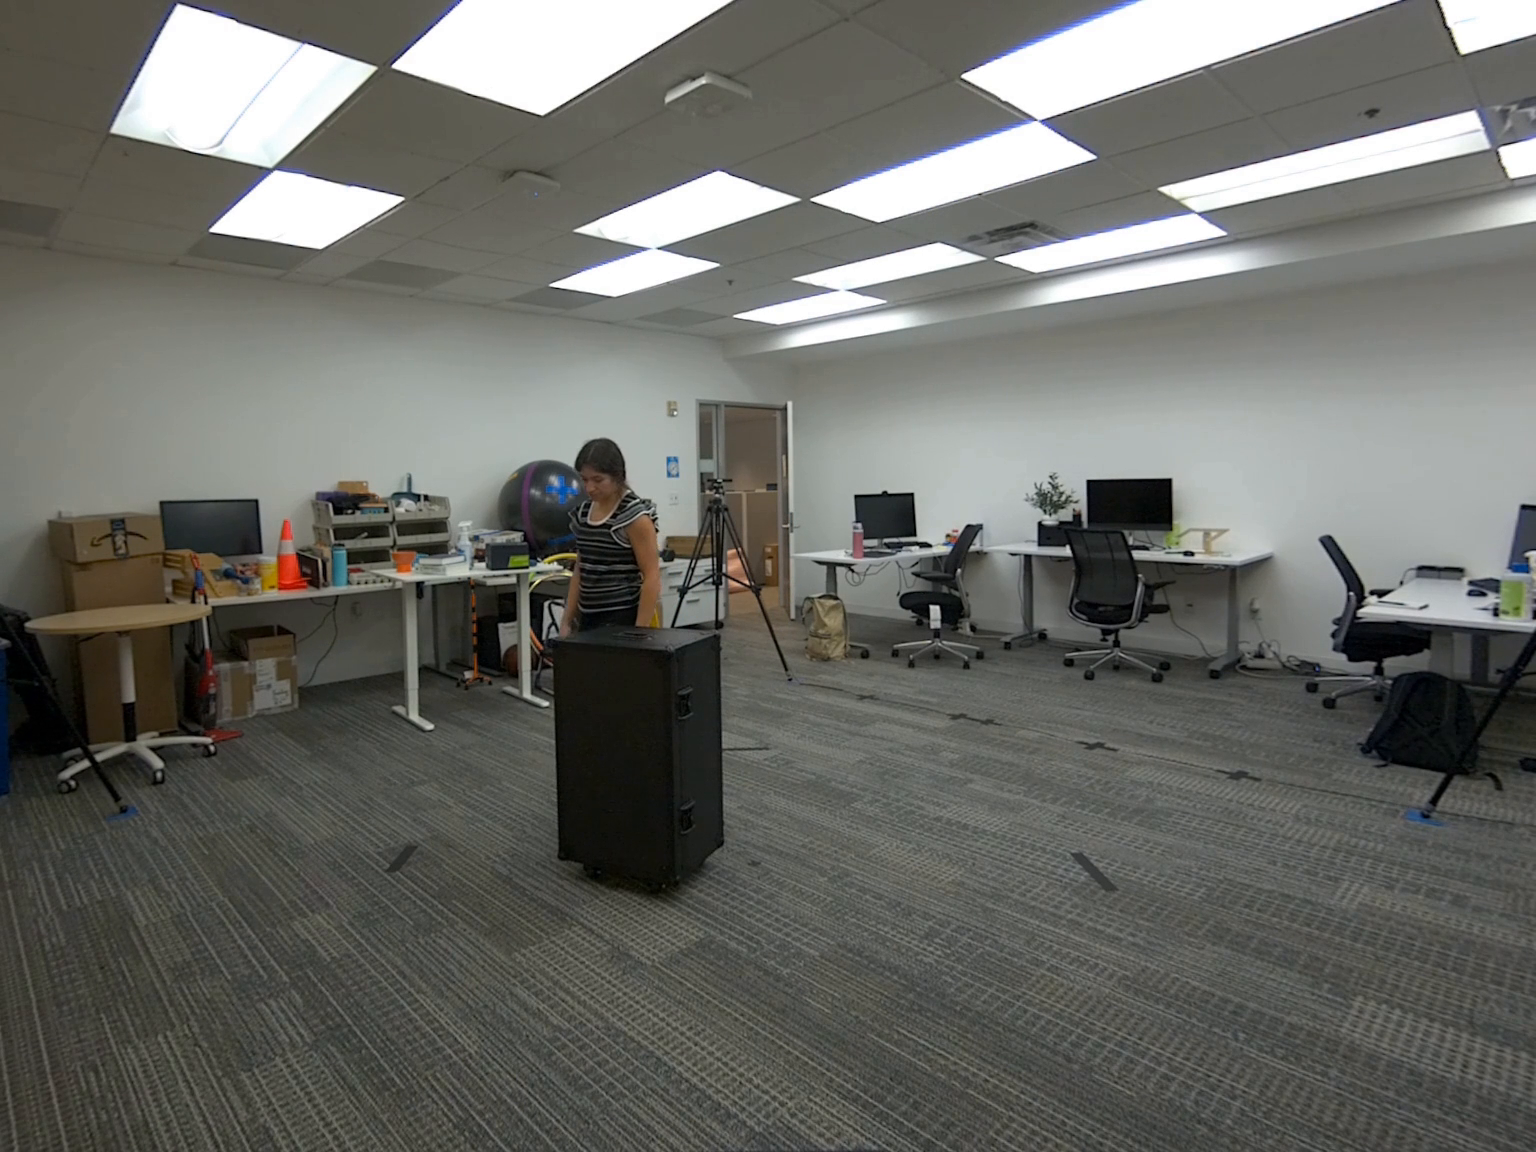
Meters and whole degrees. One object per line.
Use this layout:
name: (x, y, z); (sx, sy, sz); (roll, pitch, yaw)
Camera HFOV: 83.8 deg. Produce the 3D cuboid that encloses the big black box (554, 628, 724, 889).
big black box: (-0.452, 0.633, 3.045); (0.533, 0.859, 0.388); (0, 3, 26)
